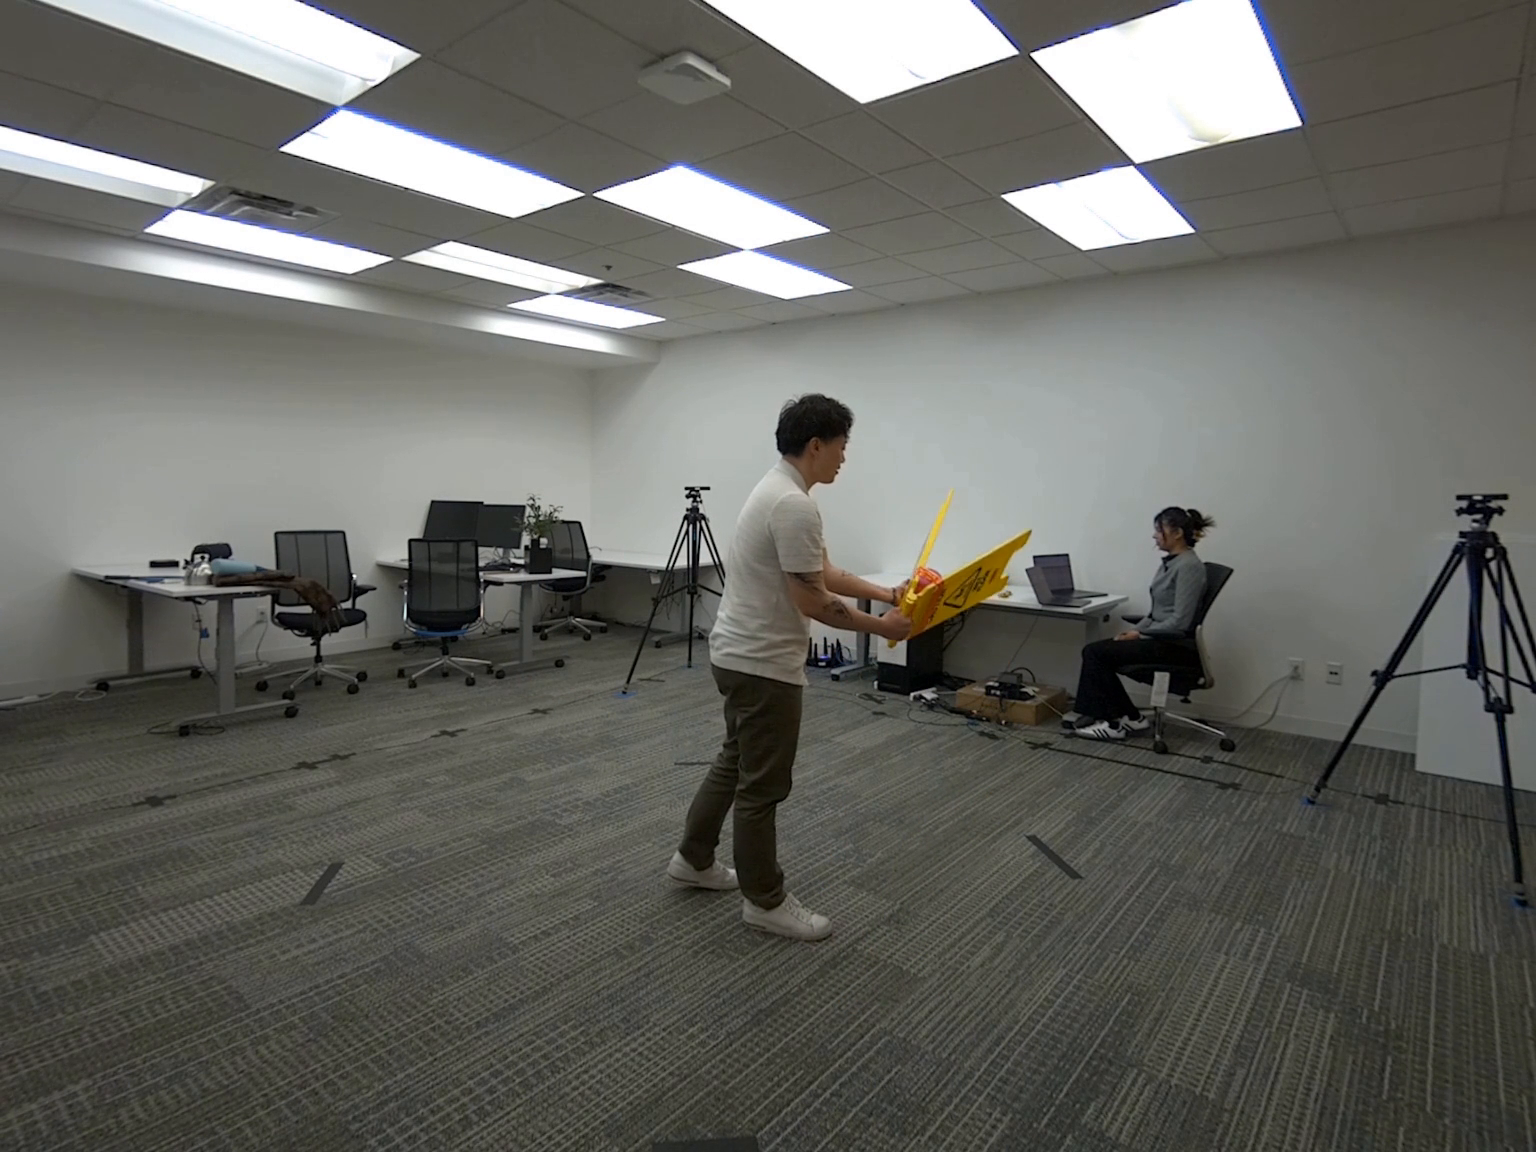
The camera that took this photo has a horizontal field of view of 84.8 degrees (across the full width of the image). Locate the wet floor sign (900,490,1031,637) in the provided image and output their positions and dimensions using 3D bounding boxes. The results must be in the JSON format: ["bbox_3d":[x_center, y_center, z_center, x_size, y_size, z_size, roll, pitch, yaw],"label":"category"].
[{"bbox_3d":[0.561,0.011,2.783,0.298,0.276,0.641,31,42,19],"label":"wet floor sign"}]
